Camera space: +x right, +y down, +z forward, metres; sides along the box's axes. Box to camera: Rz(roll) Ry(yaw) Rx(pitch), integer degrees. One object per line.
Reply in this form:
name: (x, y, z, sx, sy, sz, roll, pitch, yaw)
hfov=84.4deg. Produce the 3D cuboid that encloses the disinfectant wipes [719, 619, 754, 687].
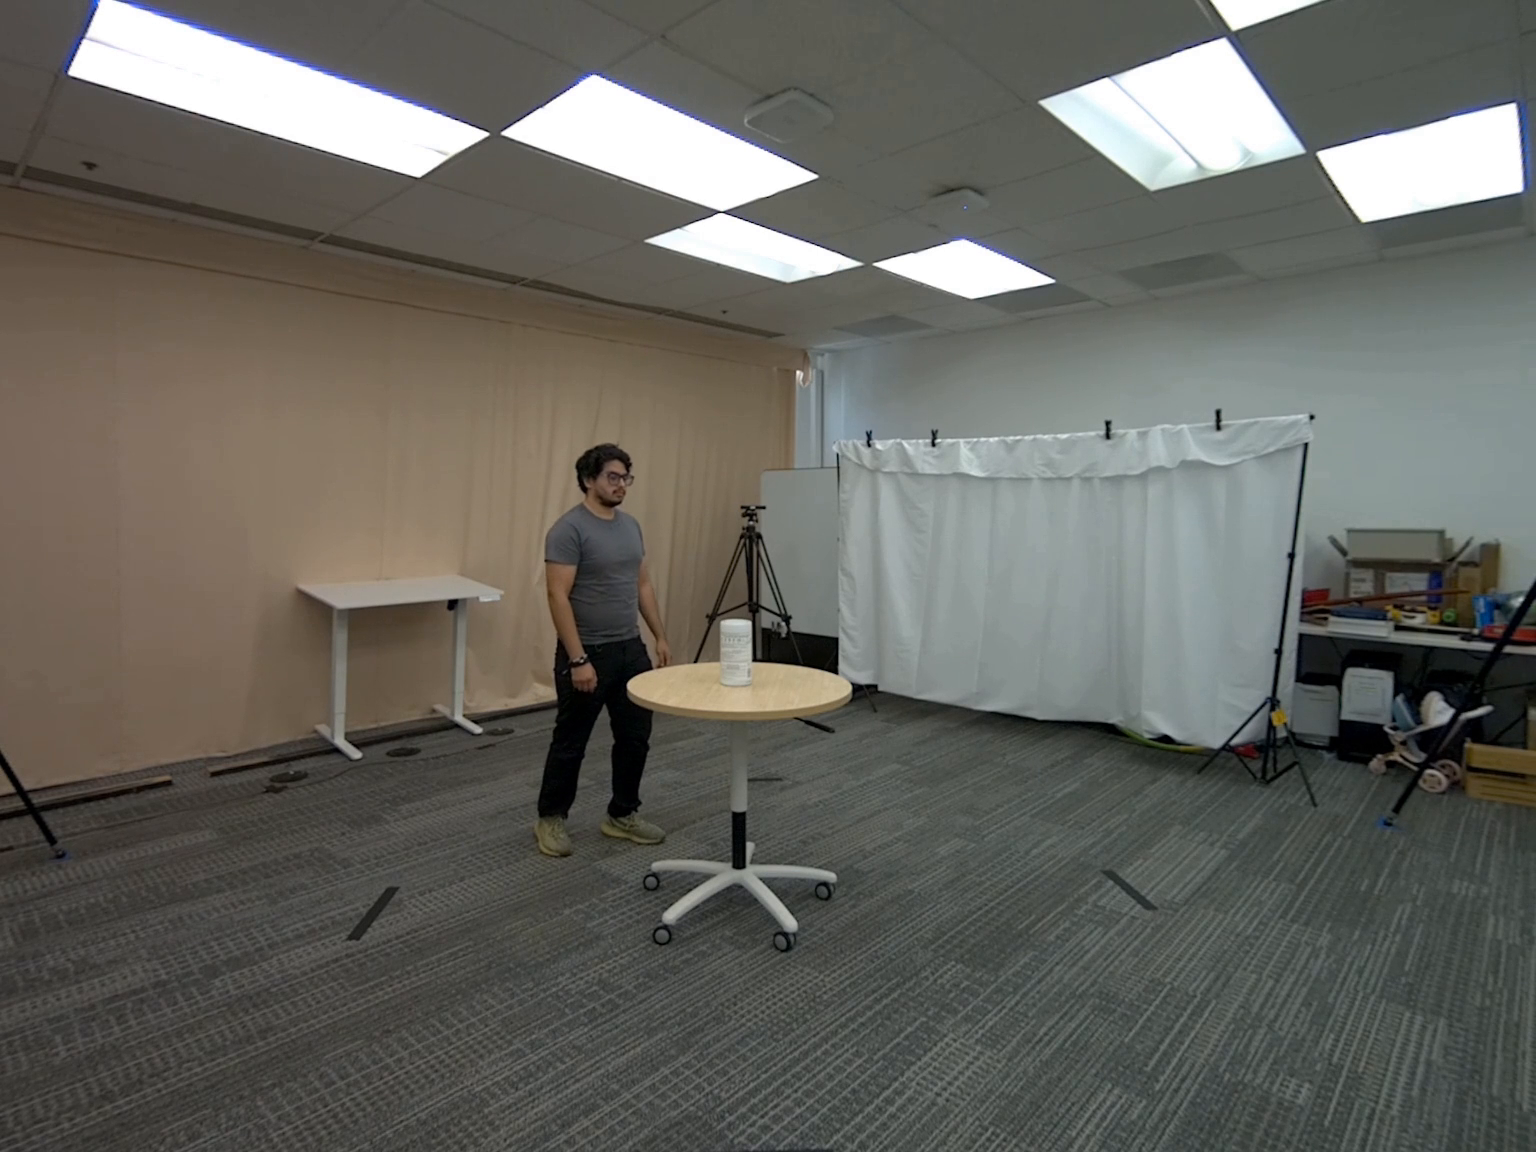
disinfectant wipes: (-0.102, 0.264, 2.880, 0.118, 0.217, 0.118, 0, 3, -2)
